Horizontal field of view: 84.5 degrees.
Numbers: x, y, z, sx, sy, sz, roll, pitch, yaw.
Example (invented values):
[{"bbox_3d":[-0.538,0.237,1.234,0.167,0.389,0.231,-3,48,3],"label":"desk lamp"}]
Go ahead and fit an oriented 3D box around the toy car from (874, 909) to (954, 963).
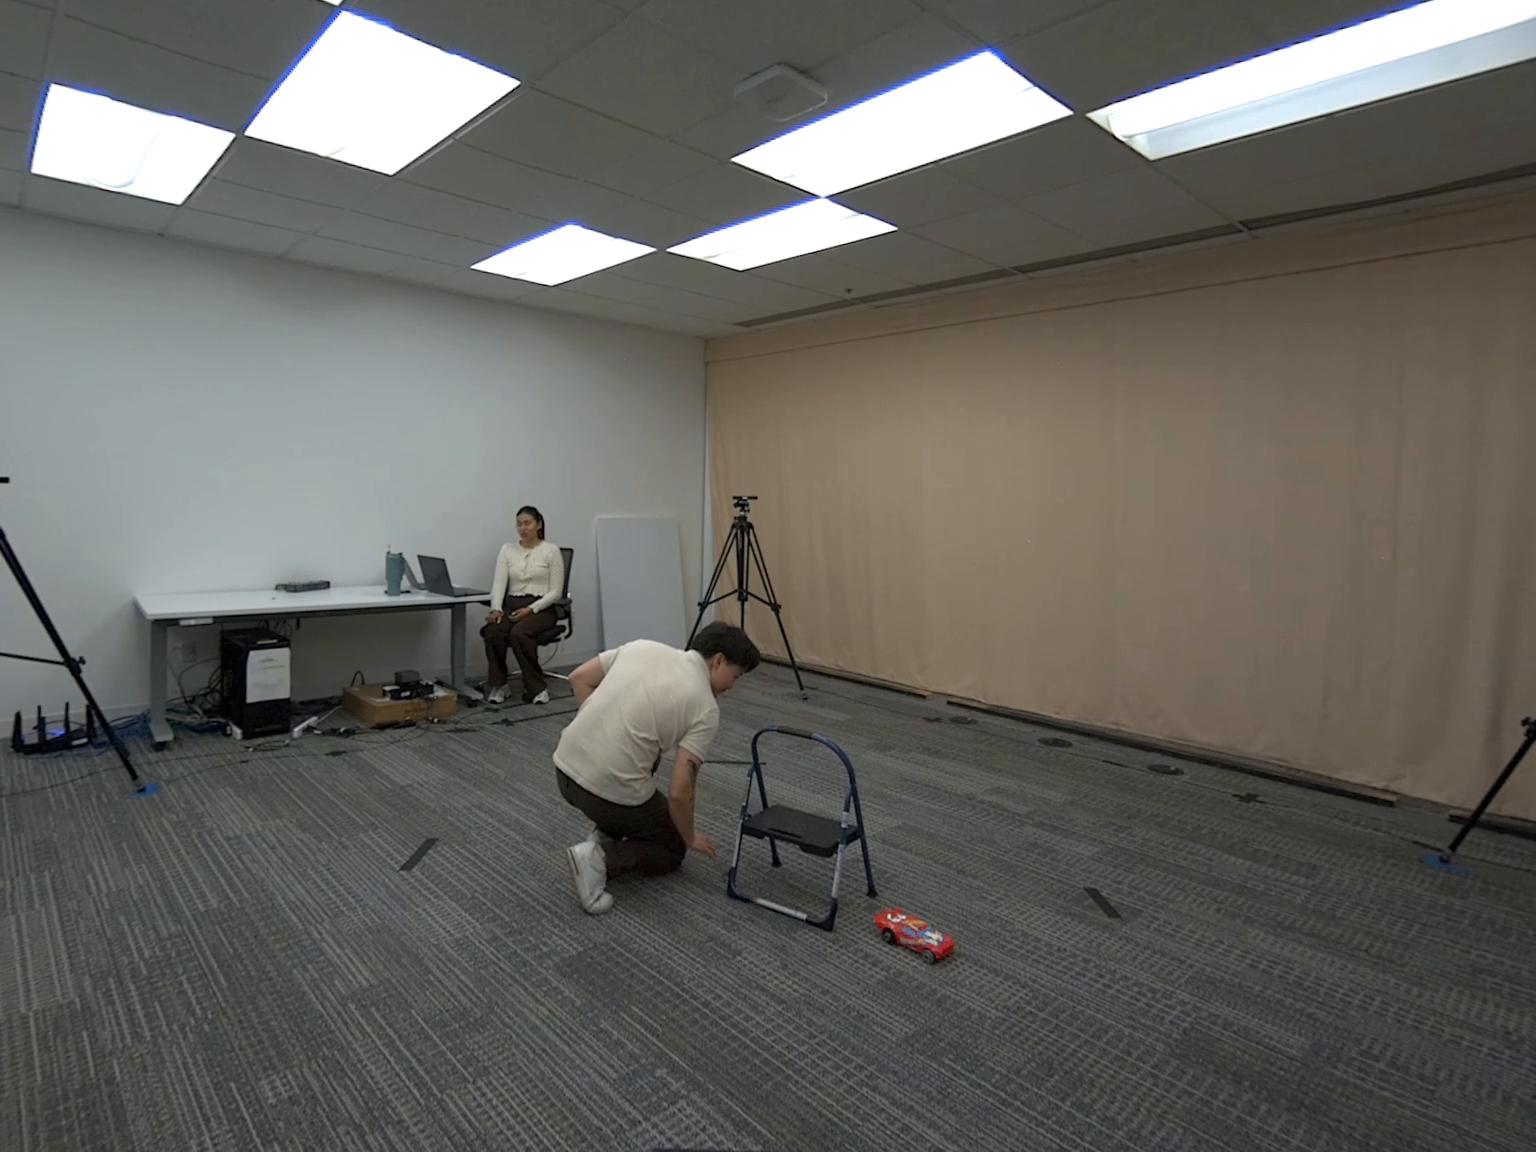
[{"bbox_3d":[0.439,1.127,2.652,0.127,0.082,0.262,-3,18,-45],"label":"toy car"}]
